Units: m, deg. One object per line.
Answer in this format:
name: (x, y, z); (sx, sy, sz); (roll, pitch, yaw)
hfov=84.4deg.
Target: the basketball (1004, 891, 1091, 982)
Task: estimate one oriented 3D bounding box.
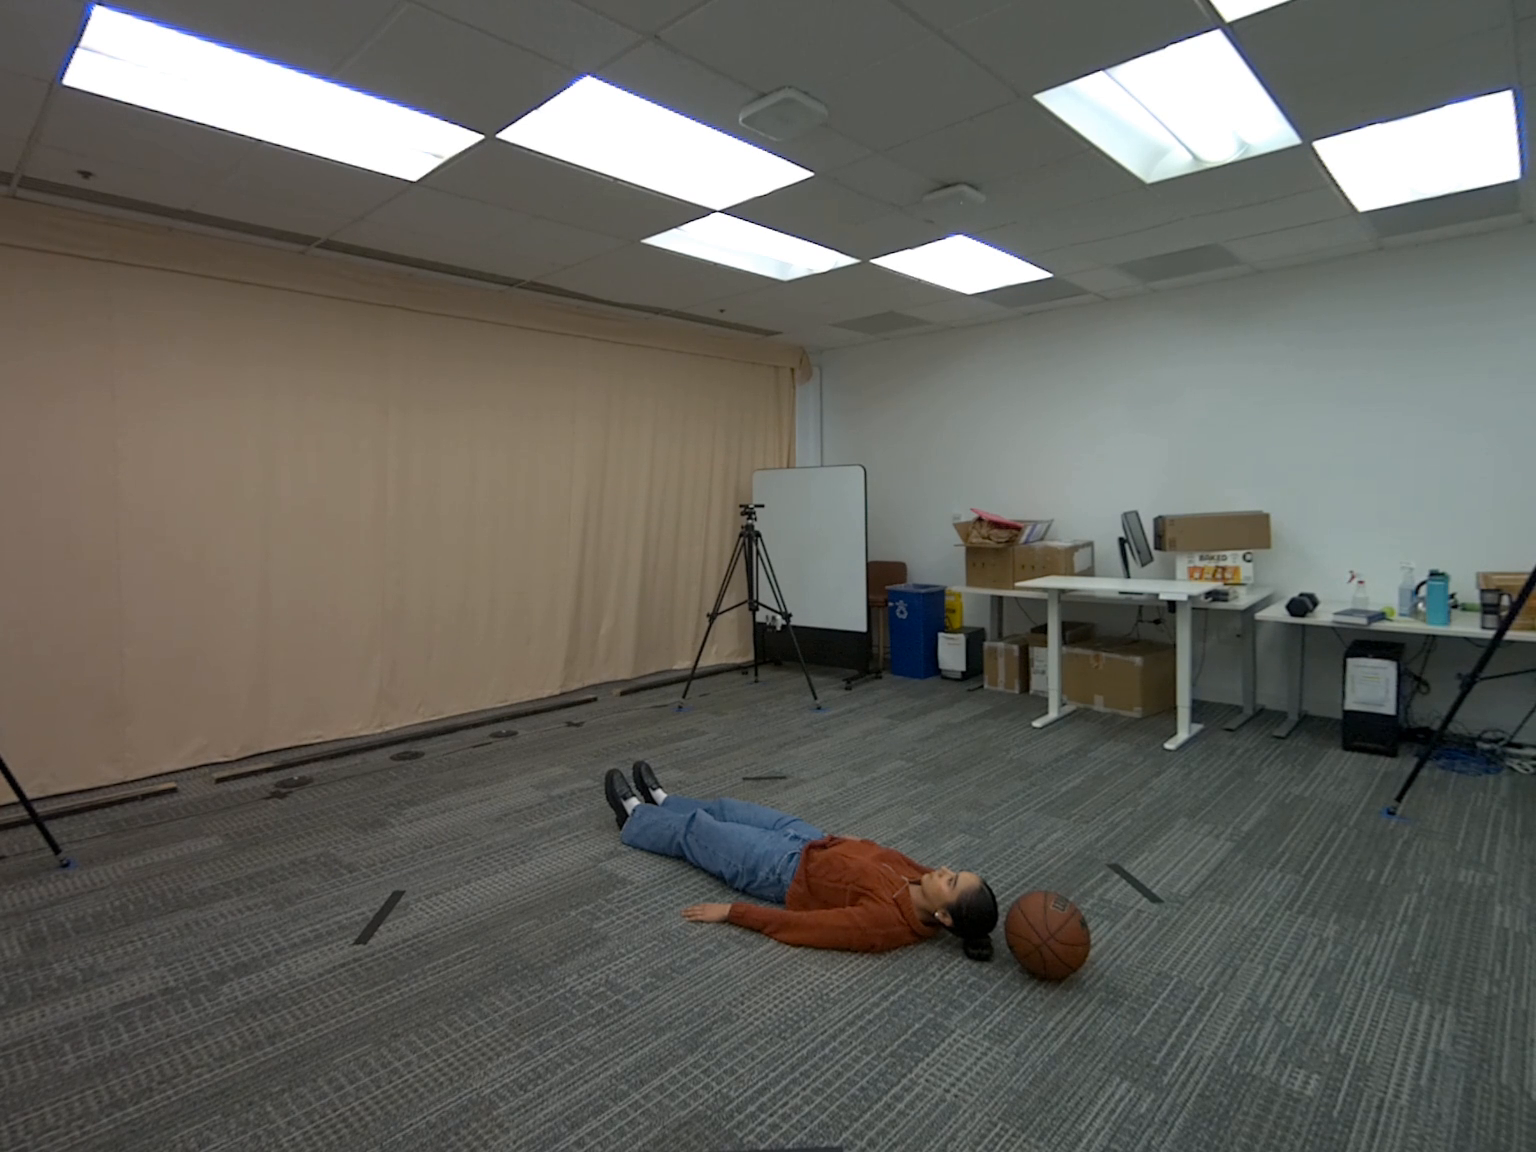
basketball: (0.816, 1.049, 2.471); (0.235, 0.235, 0.237); (2, 5, -2)
